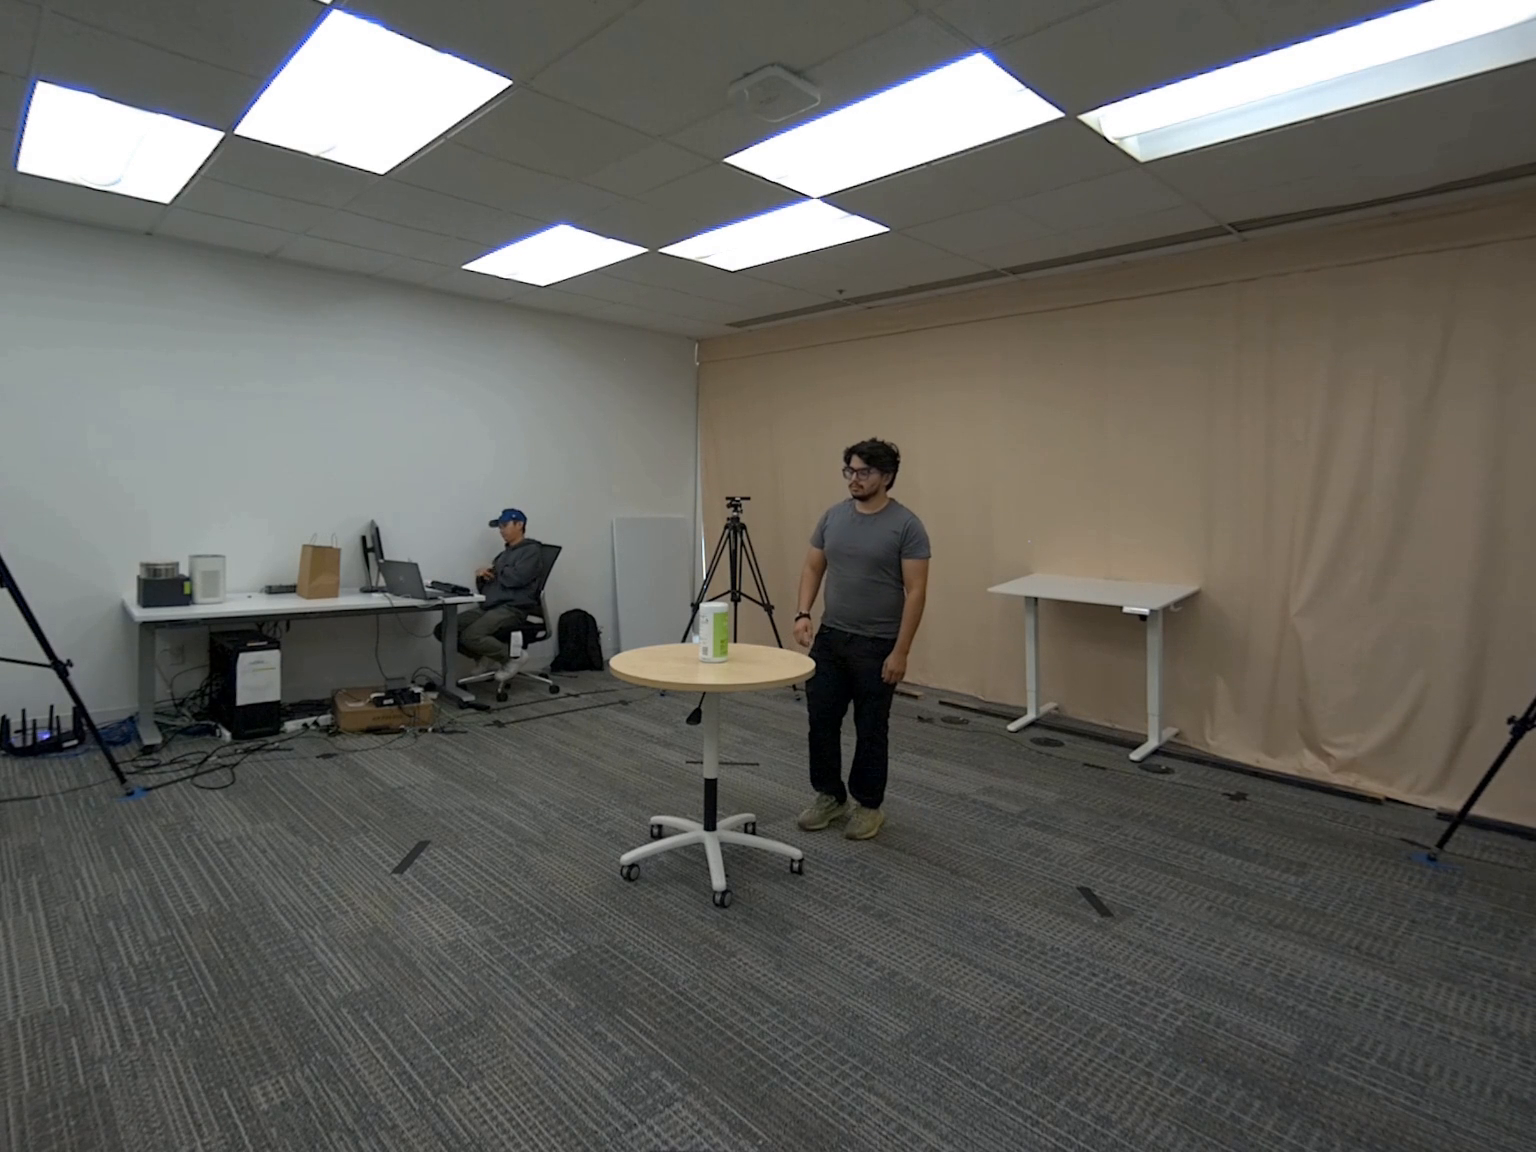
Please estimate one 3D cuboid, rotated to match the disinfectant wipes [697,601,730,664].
[{"bbox_3d":[-0.210,0.212,3.145,0.118,0.217,0.118,2,4,-2],"label":"disinfectant wipes"}]
